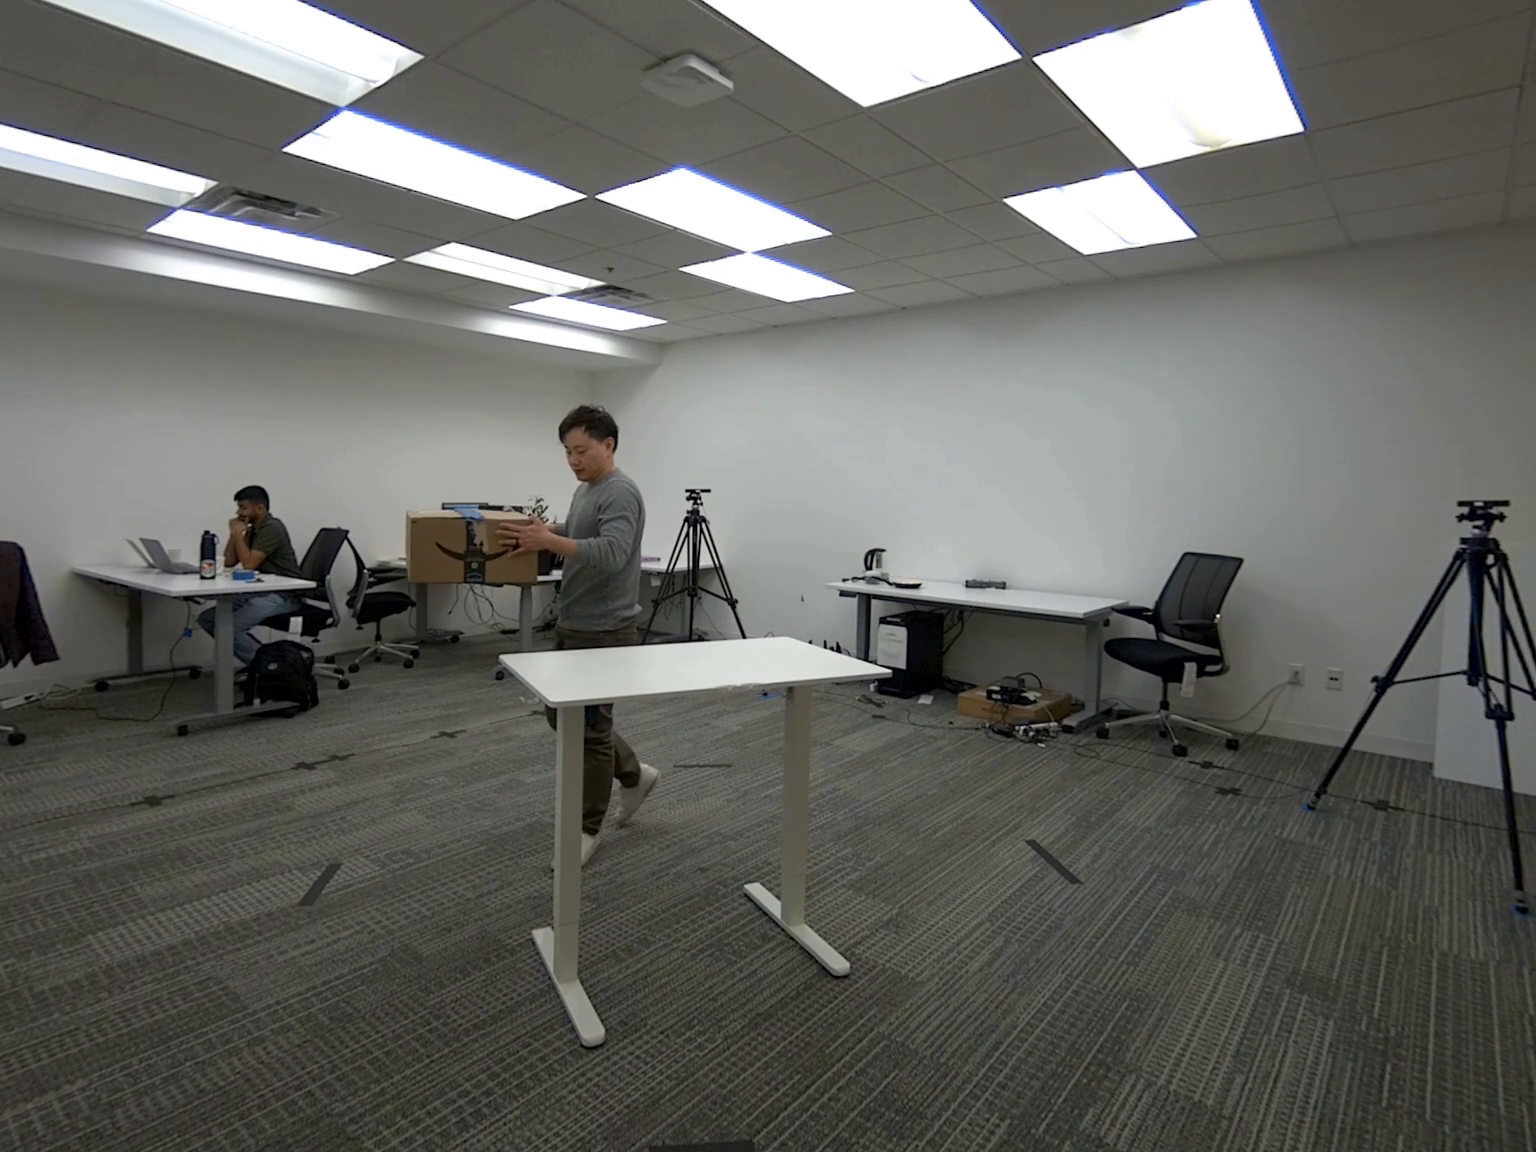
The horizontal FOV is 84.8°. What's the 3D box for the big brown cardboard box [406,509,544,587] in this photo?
[{"bbox_3d":[-1.097,-0.121,3.091,0.408,0.232,0.605,0,8,-23],"label":"big brown cardboard box"}]
